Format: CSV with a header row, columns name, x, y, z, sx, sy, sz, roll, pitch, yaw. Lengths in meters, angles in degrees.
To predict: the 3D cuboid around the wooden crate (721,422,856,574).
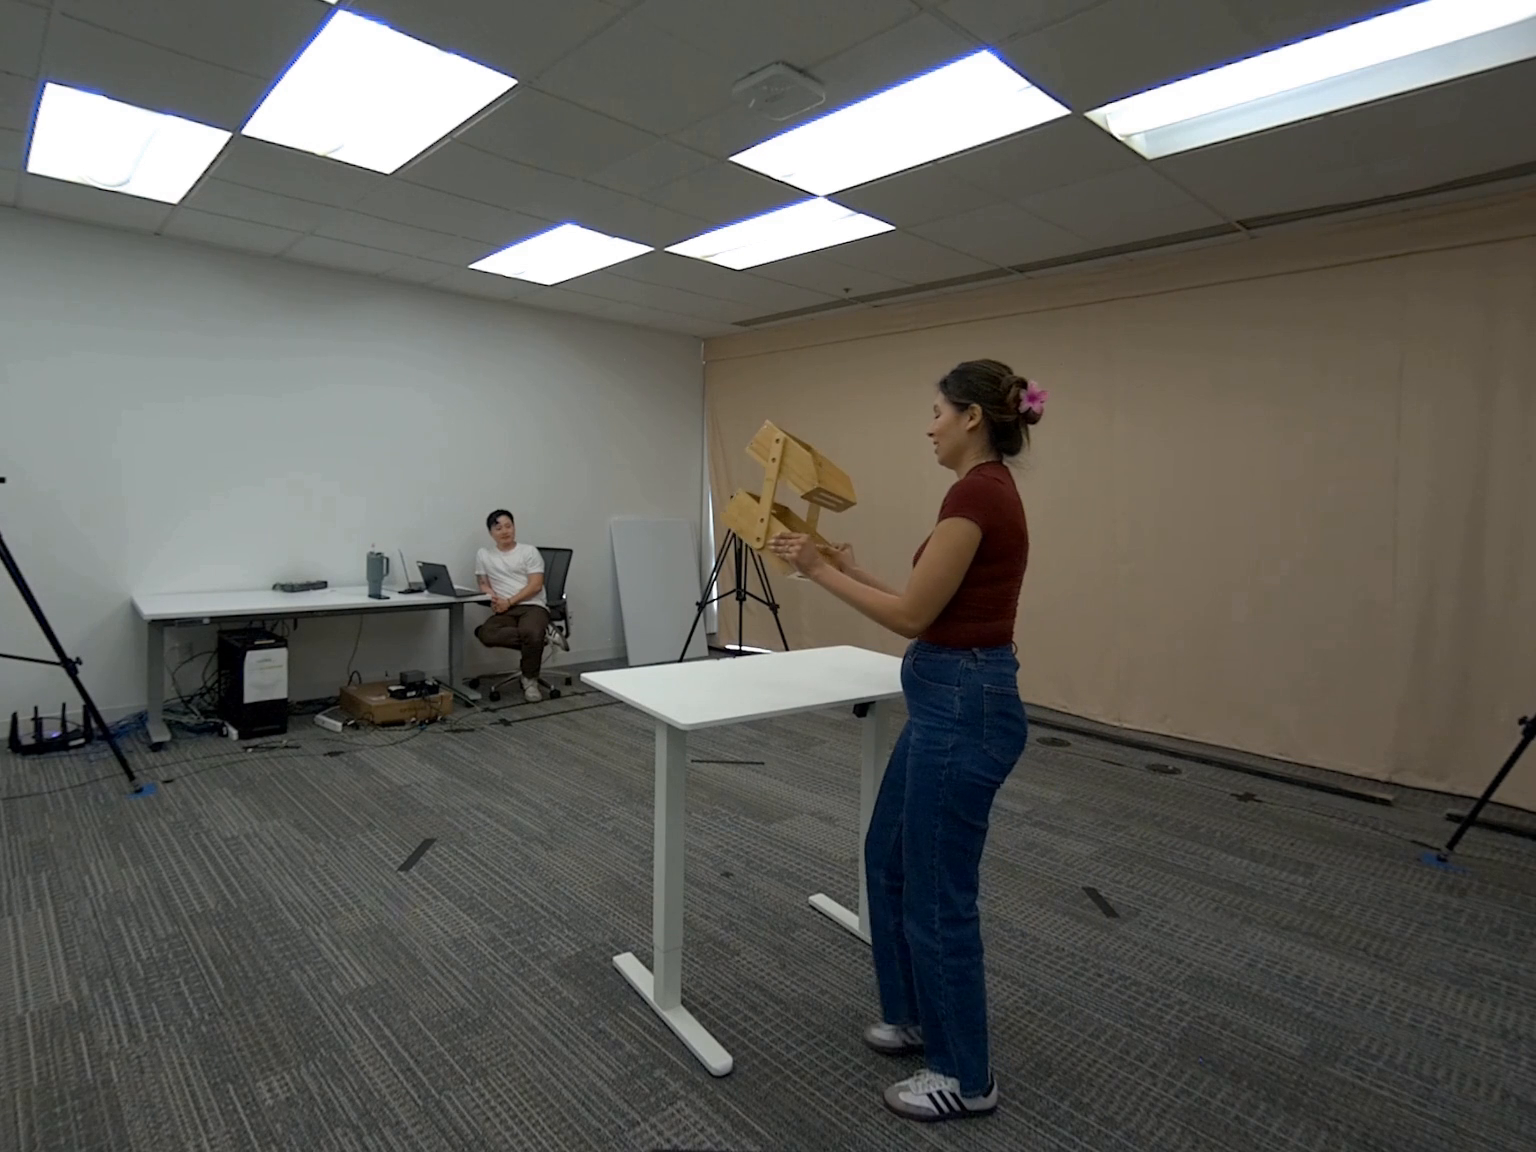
name,x,y,z,sx,sy,sz,roll,pitch,yaw
wooden crate,0.082,-0.170,2.116,0.309,0.273,0.317,42,12,21
